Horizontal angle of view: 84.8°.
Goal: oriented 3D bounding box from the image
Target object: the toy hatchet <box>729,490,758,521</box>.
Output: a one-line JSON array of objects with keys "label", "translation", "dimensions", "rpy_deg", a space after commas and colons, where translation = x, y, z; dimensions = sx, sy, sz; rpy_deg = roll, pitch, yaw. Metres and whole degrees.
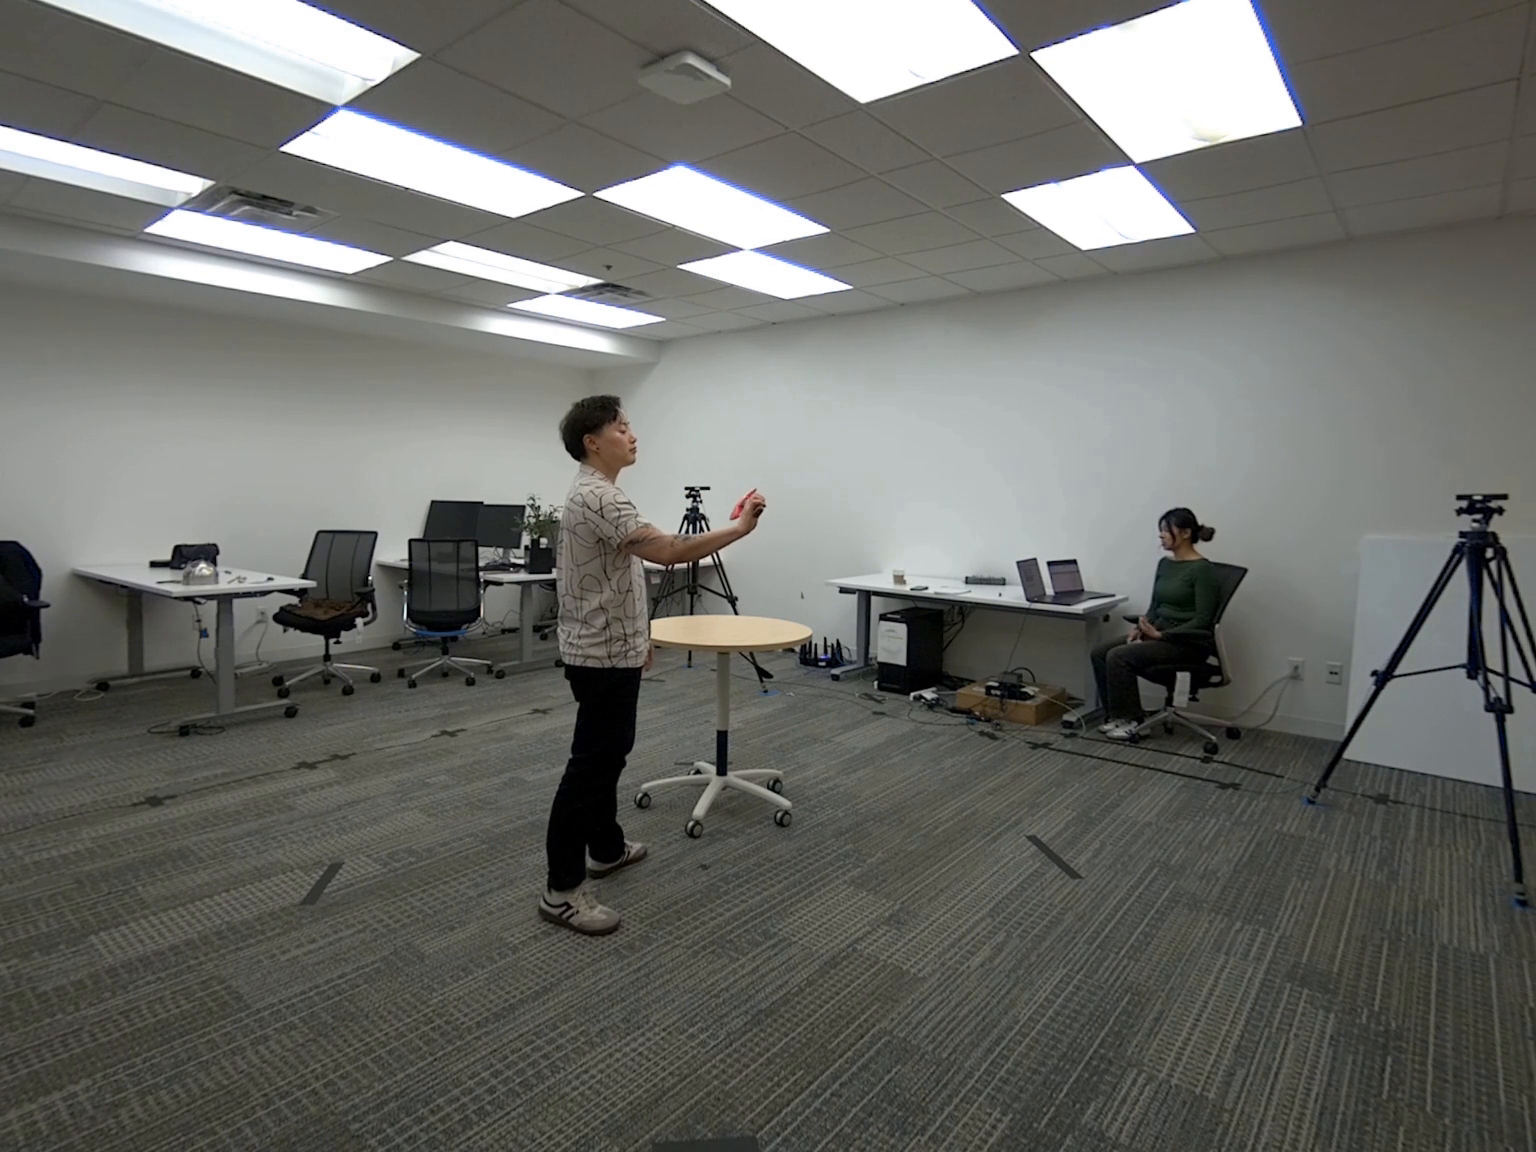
[{"label": "toy hatchet", "translation": [-0.084, -0.202, 2.641], "dimensions": [0.029, 0.131, 0.275], "rpy_deg": [43, 8, -16]}]
